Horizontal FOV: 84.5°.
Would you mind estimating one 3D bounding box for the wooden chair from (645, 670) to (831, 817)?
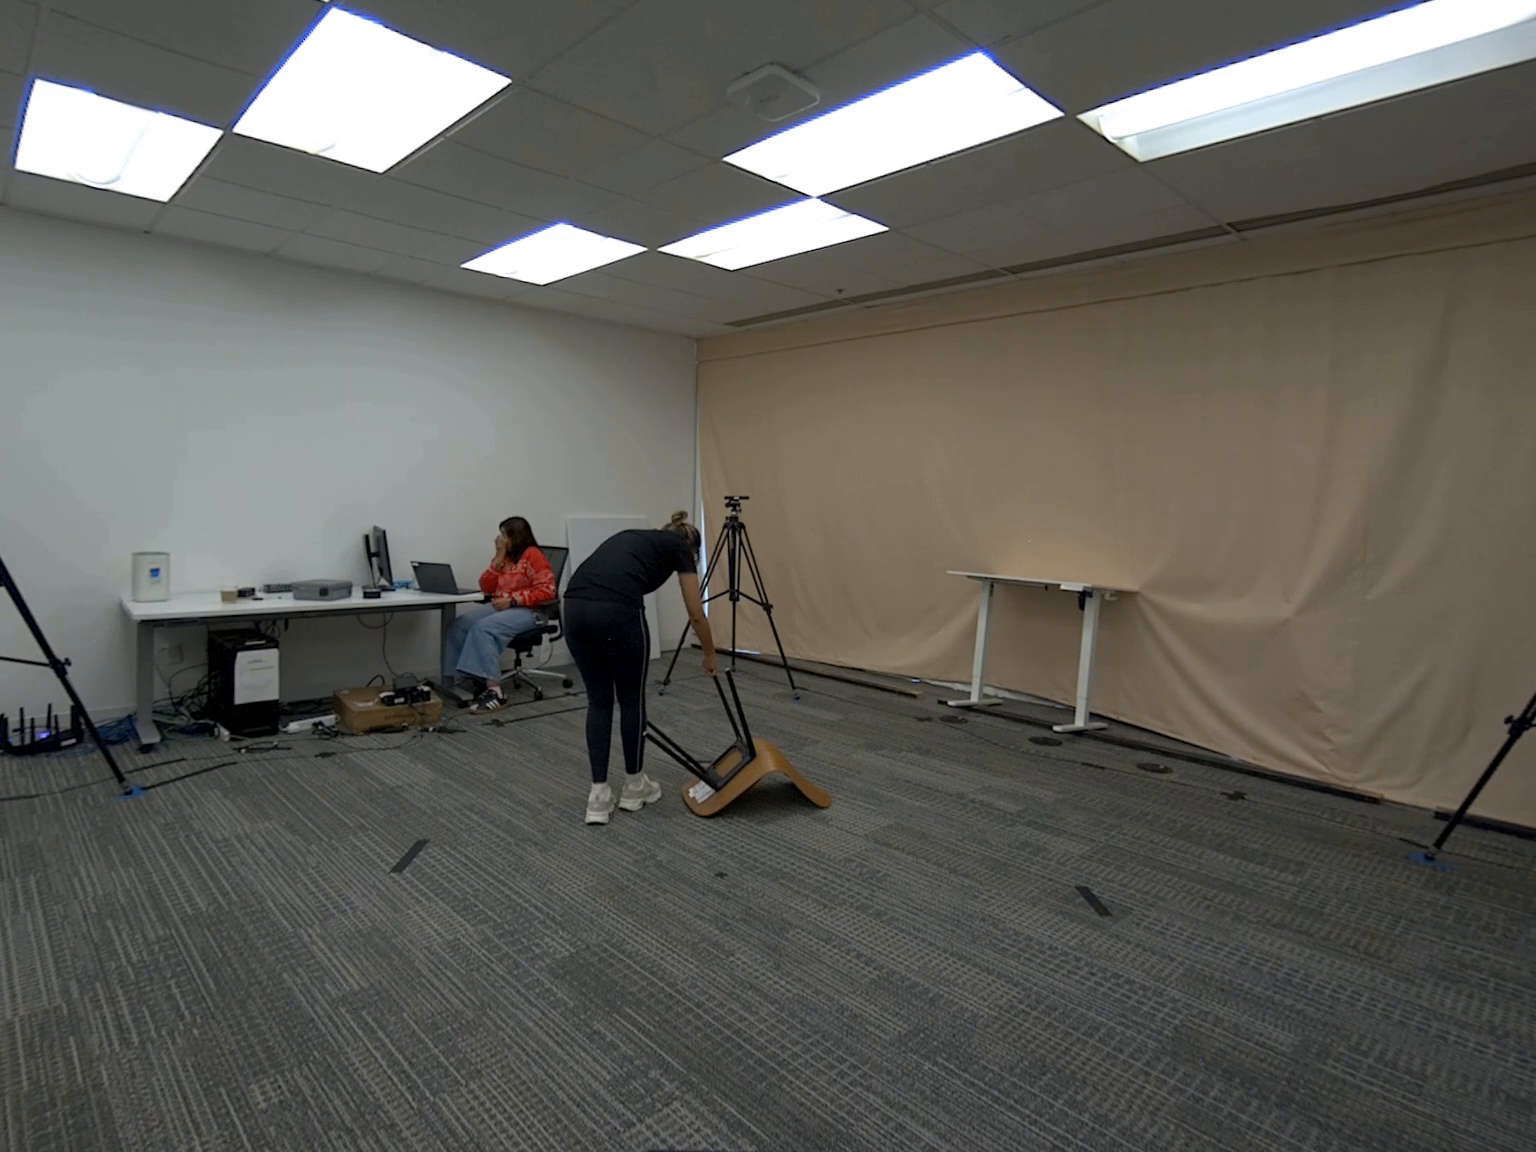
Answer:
[{"bbox_3d":[-0.192,0.864,3.874,0.522,0.867,0.484,-40,12,-10],"label":"wooden chair"}]
